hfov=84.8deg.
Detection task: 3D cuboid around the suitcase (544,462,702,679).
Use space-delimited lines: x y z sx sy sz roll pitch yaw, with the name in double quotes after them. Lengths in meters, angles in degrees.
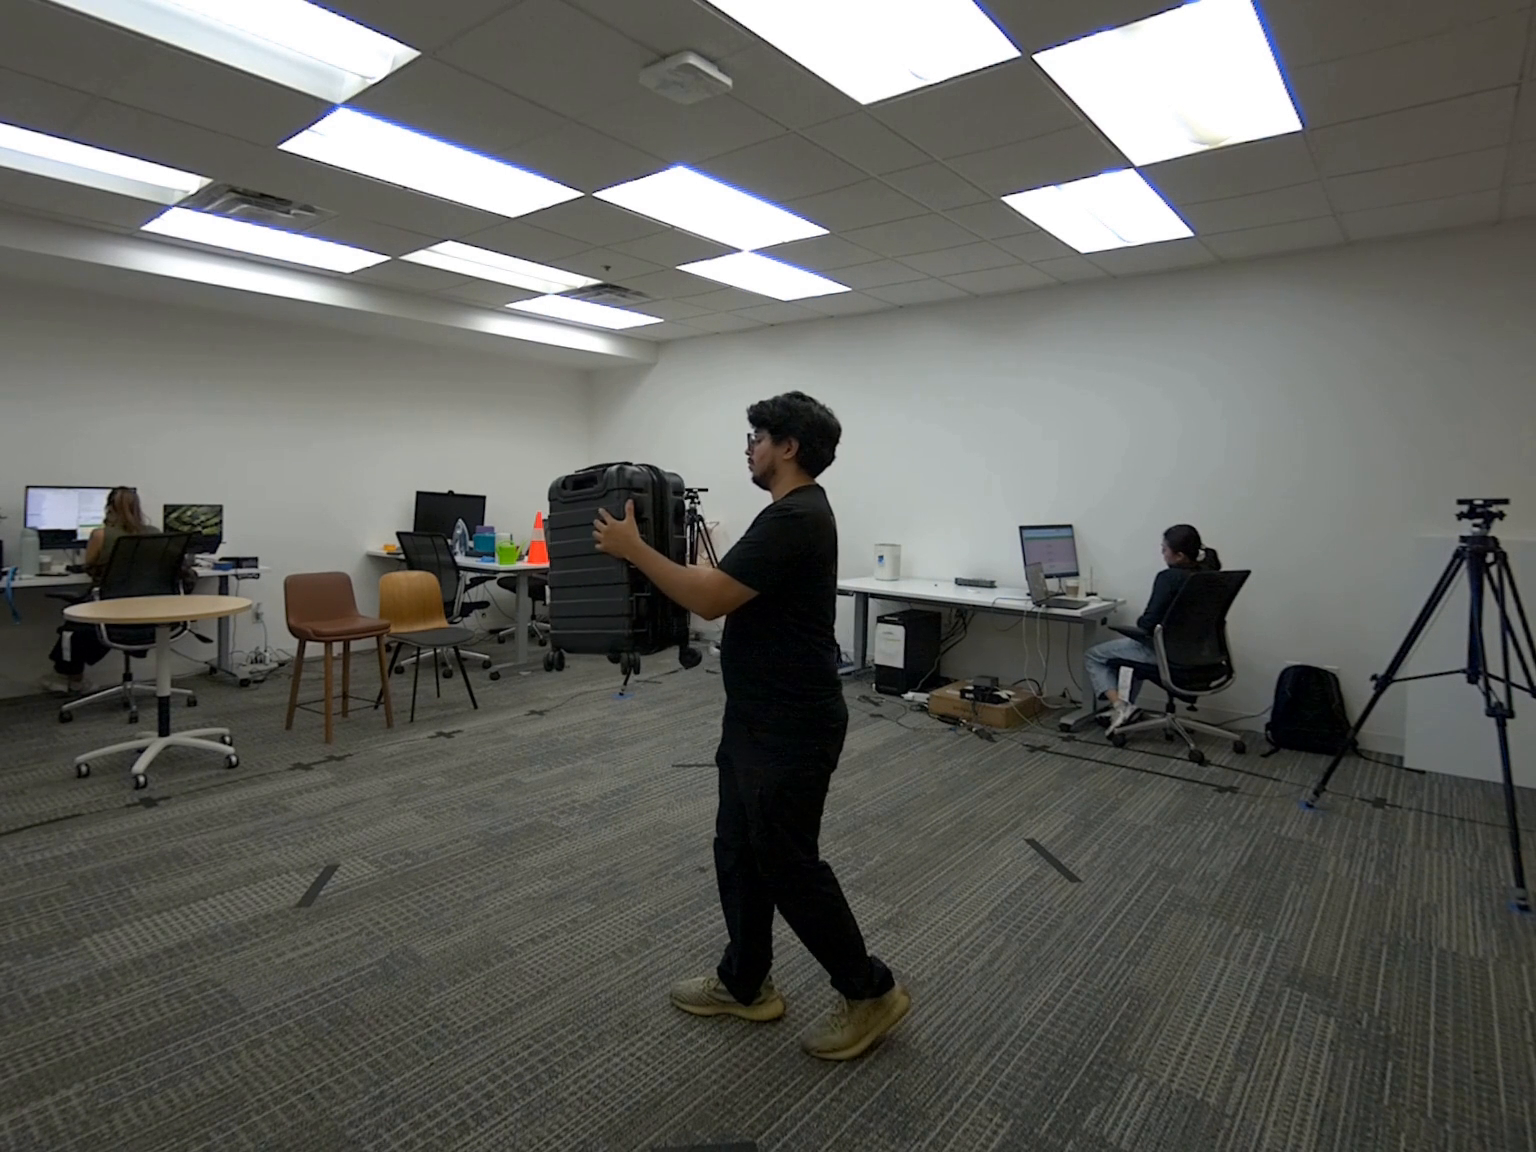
-0.417 -0.032 2.315 0.386 0.552 0.240 -6 -6 41 "suitcase"
